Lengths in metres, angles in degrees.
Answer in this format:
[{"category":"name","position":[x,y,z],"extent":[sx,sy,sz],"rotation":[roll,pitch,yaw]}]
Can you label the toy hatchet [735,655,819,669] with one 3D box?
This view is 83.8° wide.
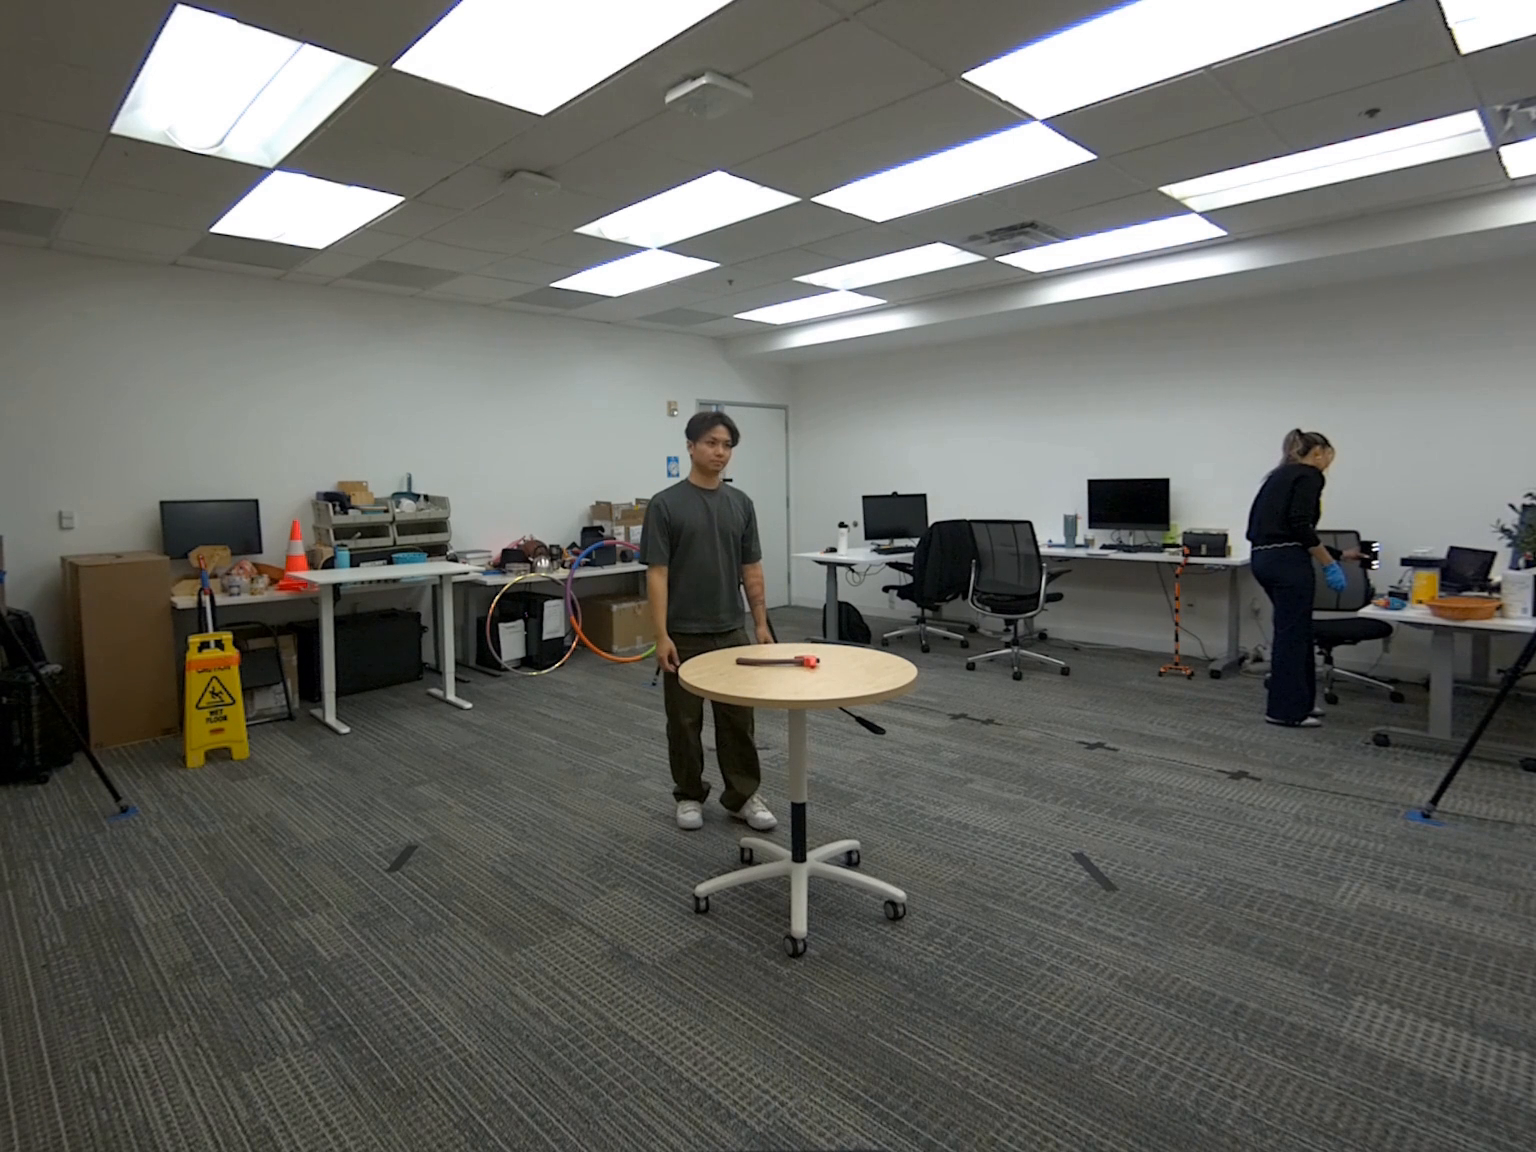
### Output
[{"category":"toy hatchet","position":[0.042,0.278,2.830],"extent":[0.275,0.029,0.129],"rotation":[1,7,20]}]
